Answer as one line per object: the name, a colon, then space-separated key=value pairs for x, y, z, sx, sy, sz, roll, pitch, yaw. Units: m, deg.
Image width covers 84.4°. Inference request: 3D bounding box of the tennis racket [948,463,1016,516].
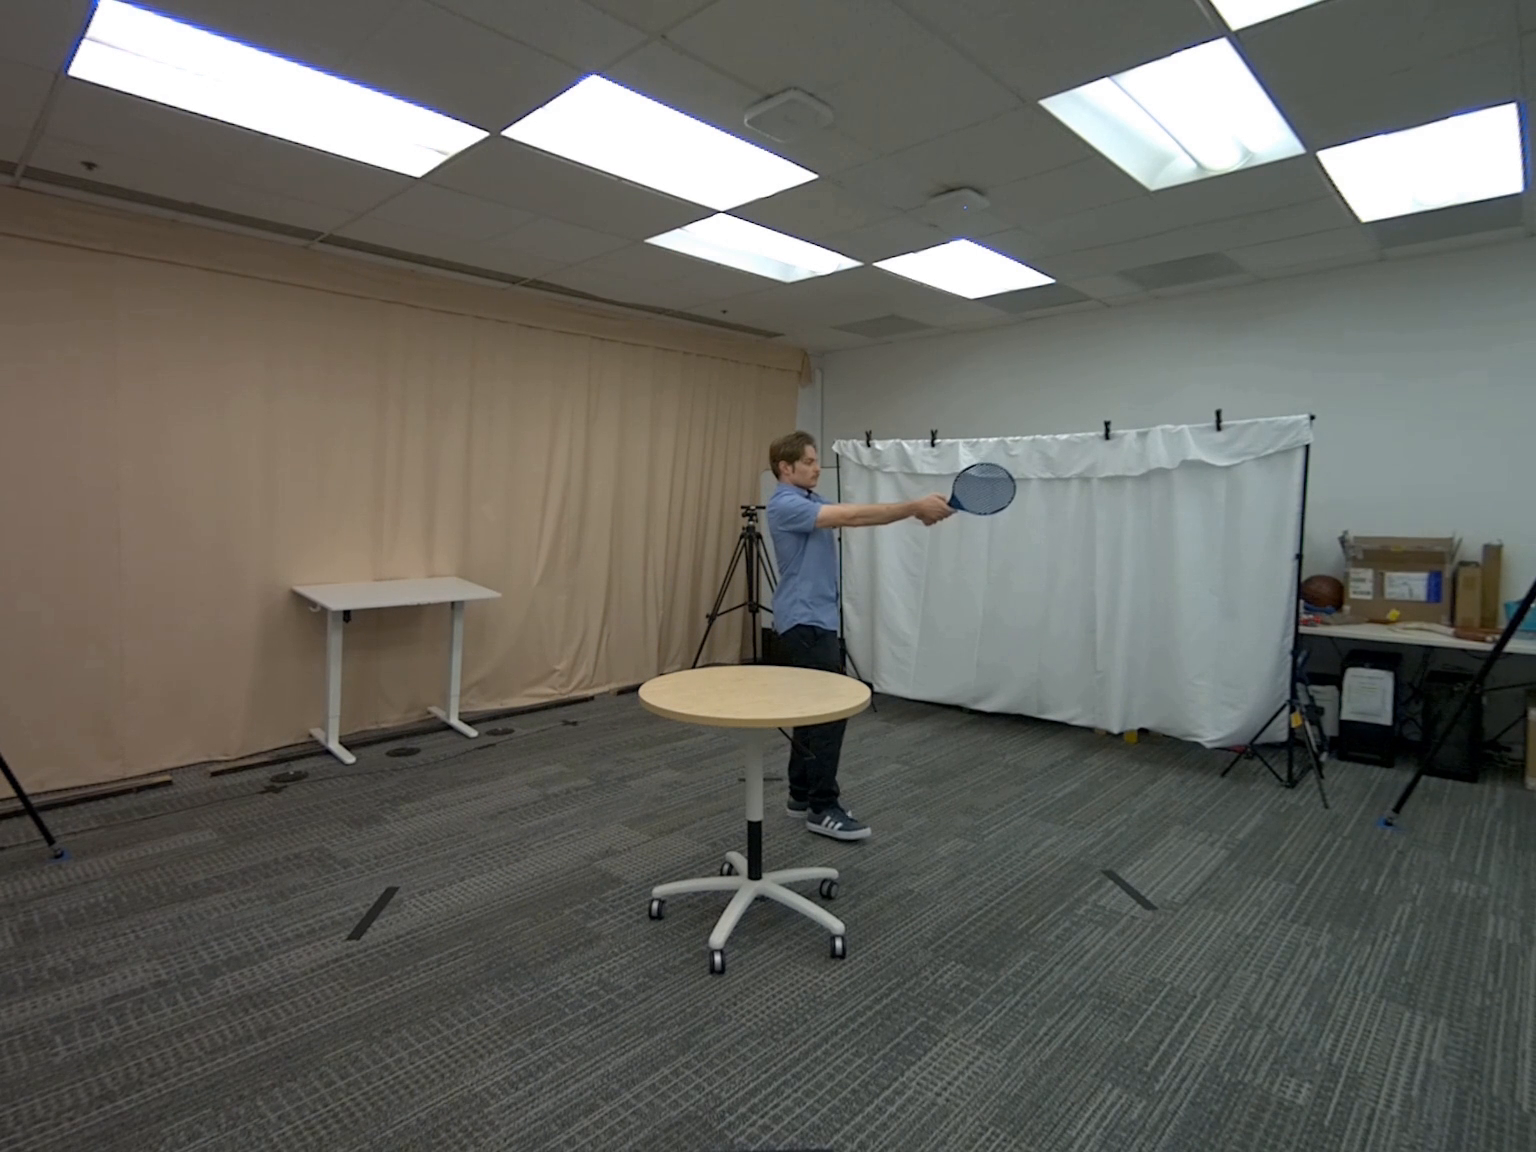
tennis racket: x=0.784 y=-0.295 z=3.306 sx=0.031 sy=0.214 sz=0.439 roll=-36 pitch=0 yaw=-42
